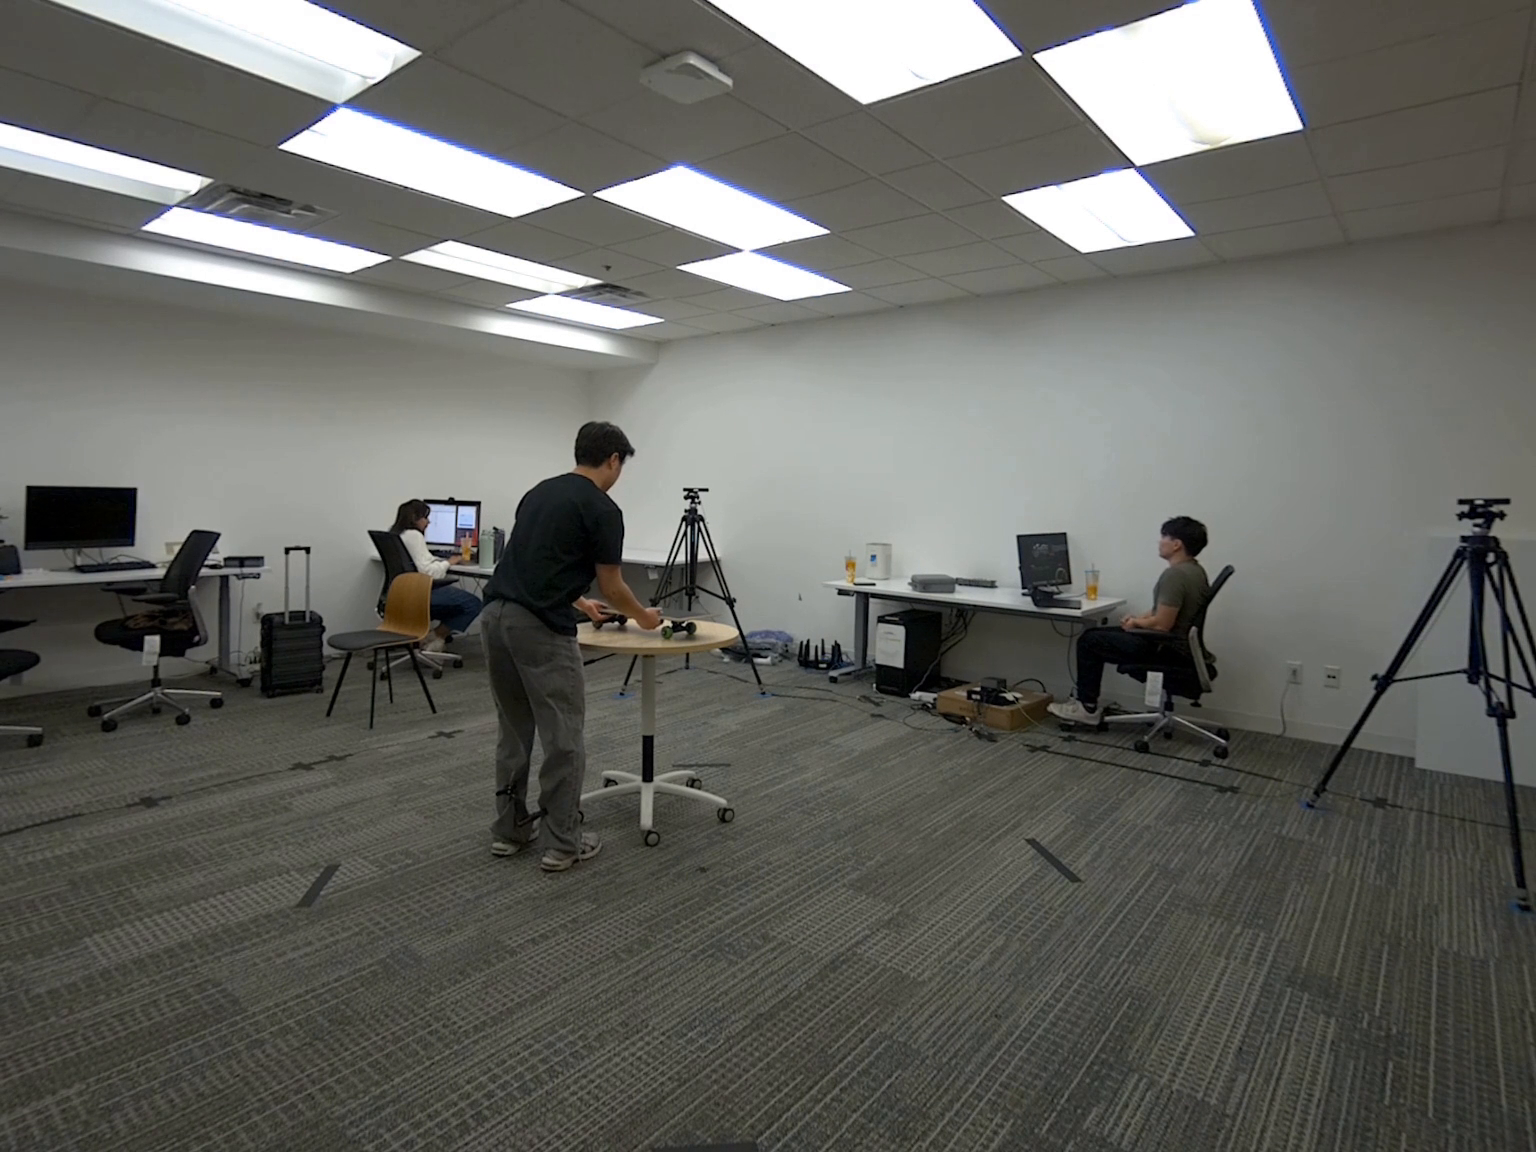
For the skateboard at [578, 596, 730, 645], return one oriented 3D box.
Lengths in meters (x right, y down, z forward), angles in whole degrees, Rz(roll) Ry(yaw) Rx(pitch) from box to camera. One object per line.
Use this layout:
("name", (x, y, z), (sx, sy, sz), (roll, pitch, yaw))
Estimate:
("skateboard", (-0.534, 0.180, 3.620), (0.811, 0.110, 0.188), (4, 5, 38))
